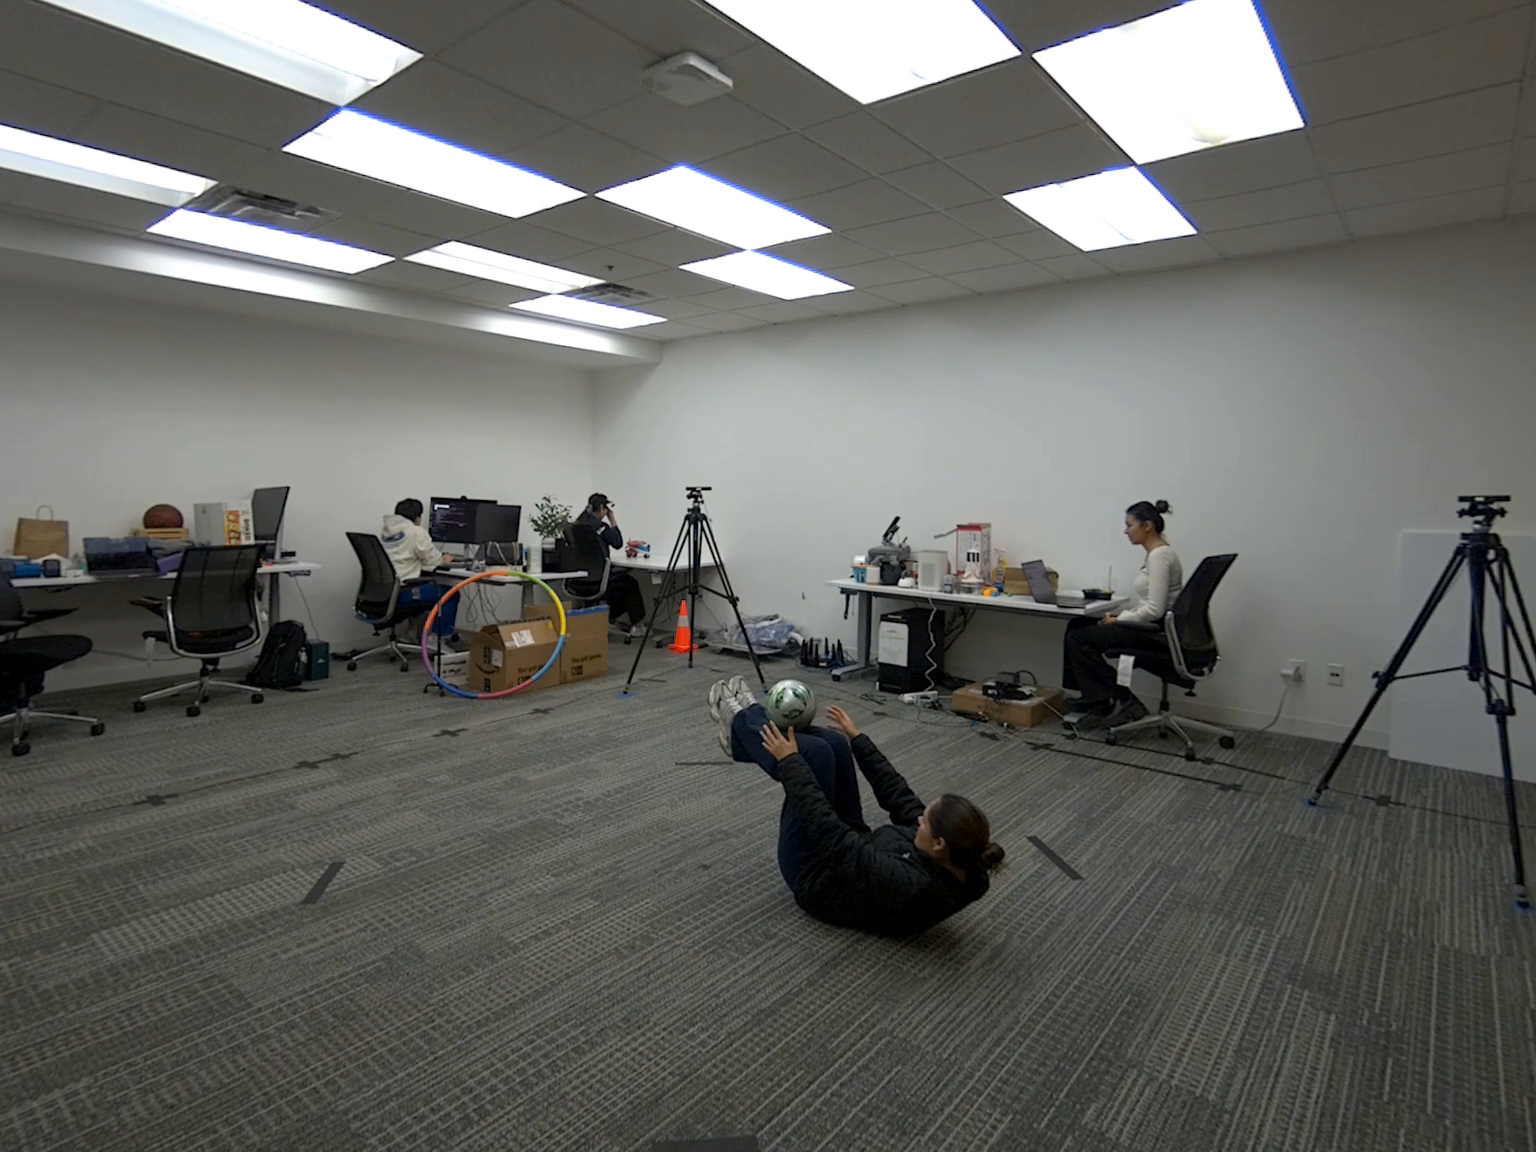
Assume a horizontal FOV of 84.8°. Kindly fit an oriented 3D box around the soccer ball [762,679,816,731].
[{"bbox_3d":[0.069,0.457,3.012,0.187,0.187,0.188,-3,3,-2],"label":"soccer ball"}]
